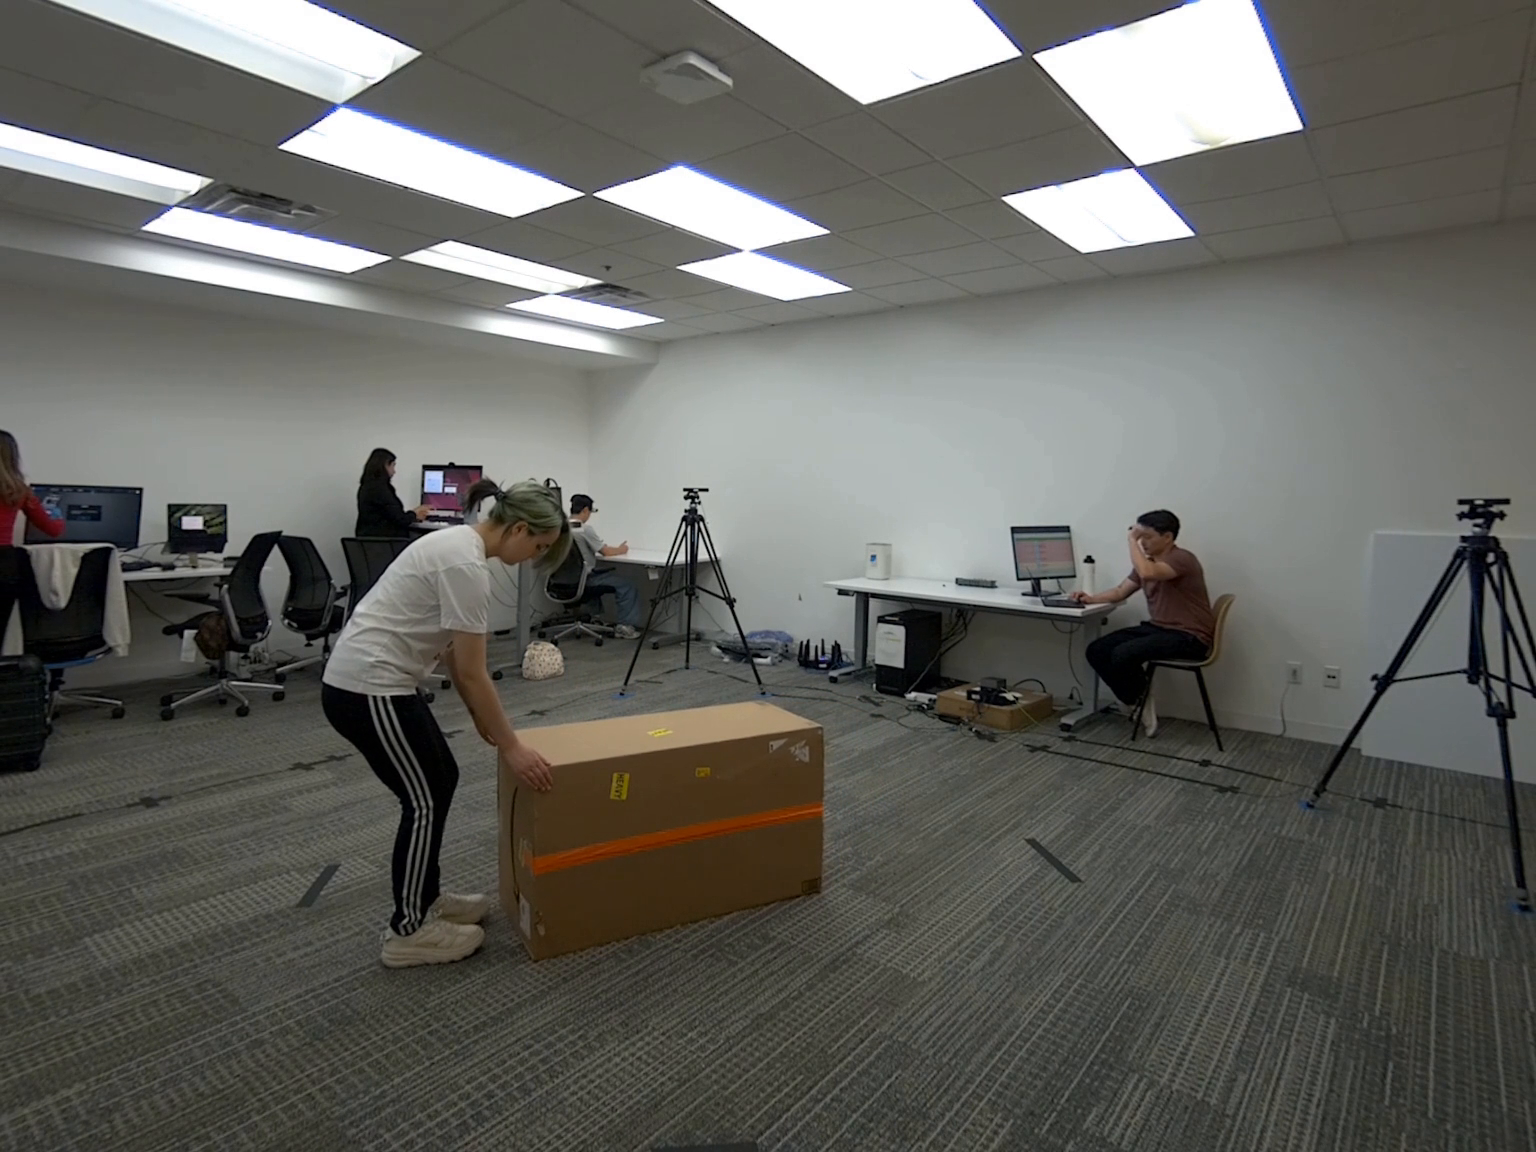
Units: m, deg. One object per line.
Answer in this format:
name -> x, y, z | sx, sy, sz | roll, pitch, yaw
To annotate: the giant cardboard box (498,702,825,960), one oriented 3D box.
giant cardboard box -> -0.360, 0.801, 2.881 | 1.000, 0.581, 0.460 | -2, 6, -29
